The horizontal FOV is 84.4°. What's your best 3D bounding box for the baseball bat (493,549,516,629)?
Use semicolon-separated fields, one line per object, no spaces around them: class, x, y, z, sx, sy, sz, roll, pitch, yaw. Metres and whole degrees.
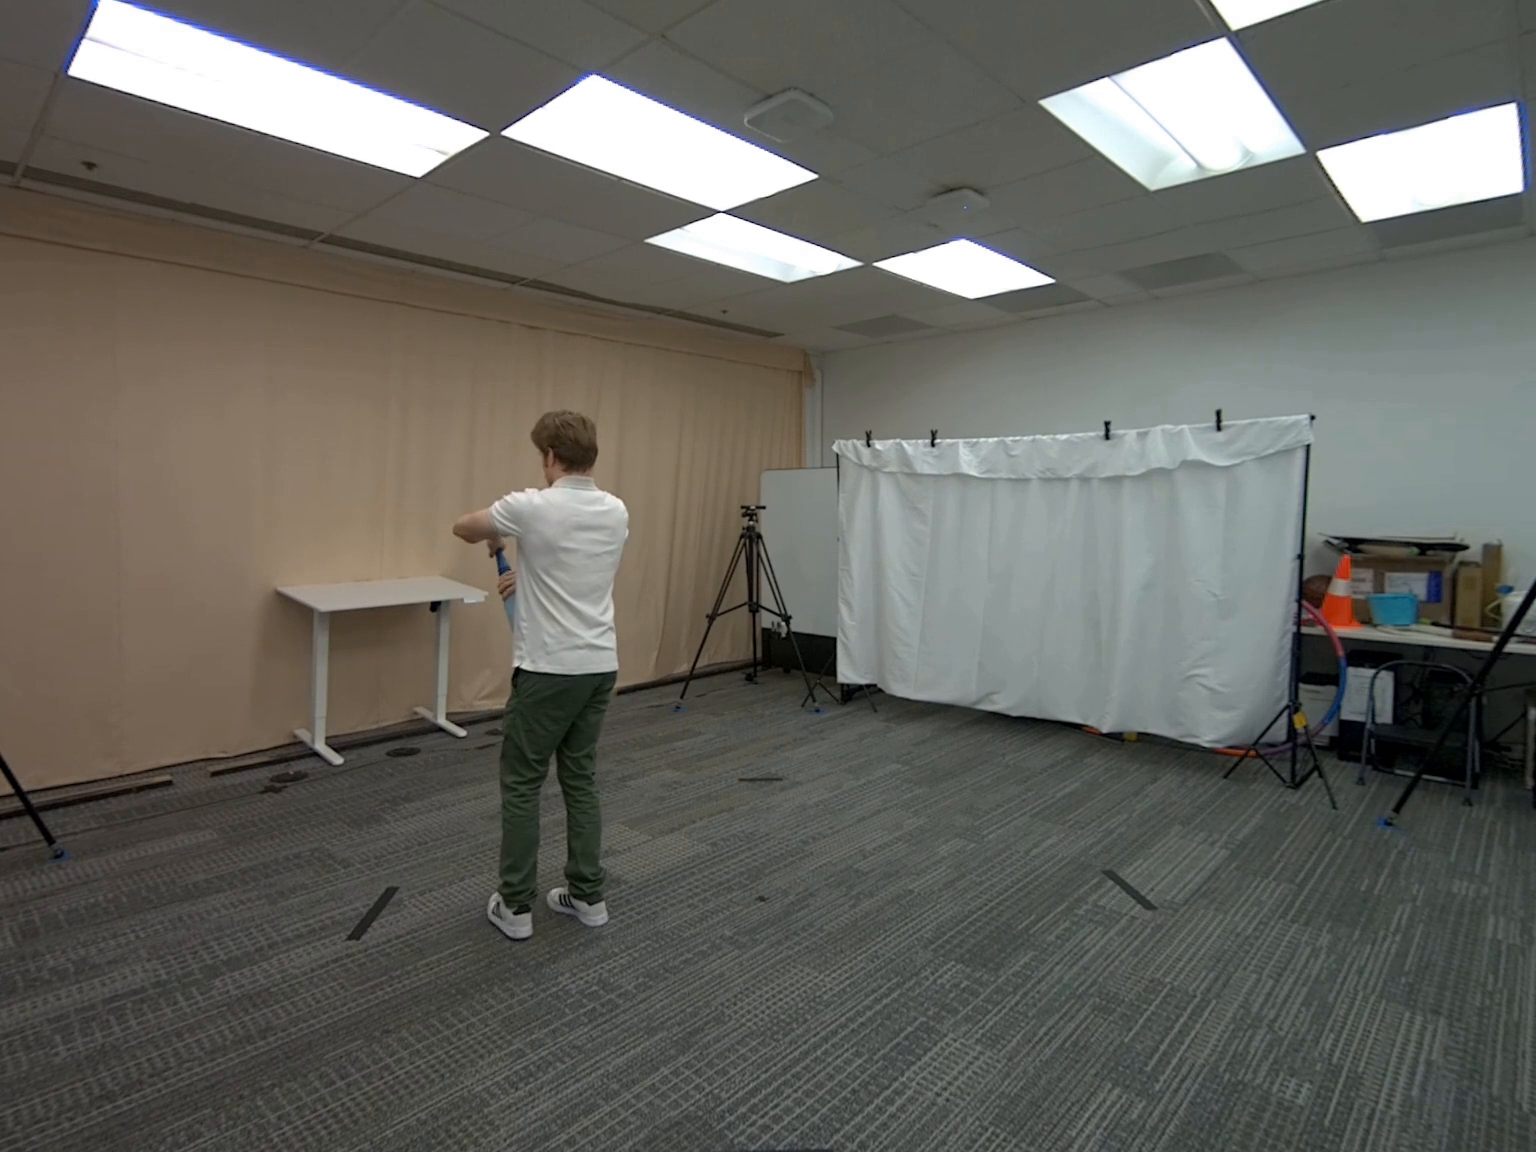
baseball bat;-0.973;0.017;3.098;0.088;0.552;0.088;-22;-17;-9
